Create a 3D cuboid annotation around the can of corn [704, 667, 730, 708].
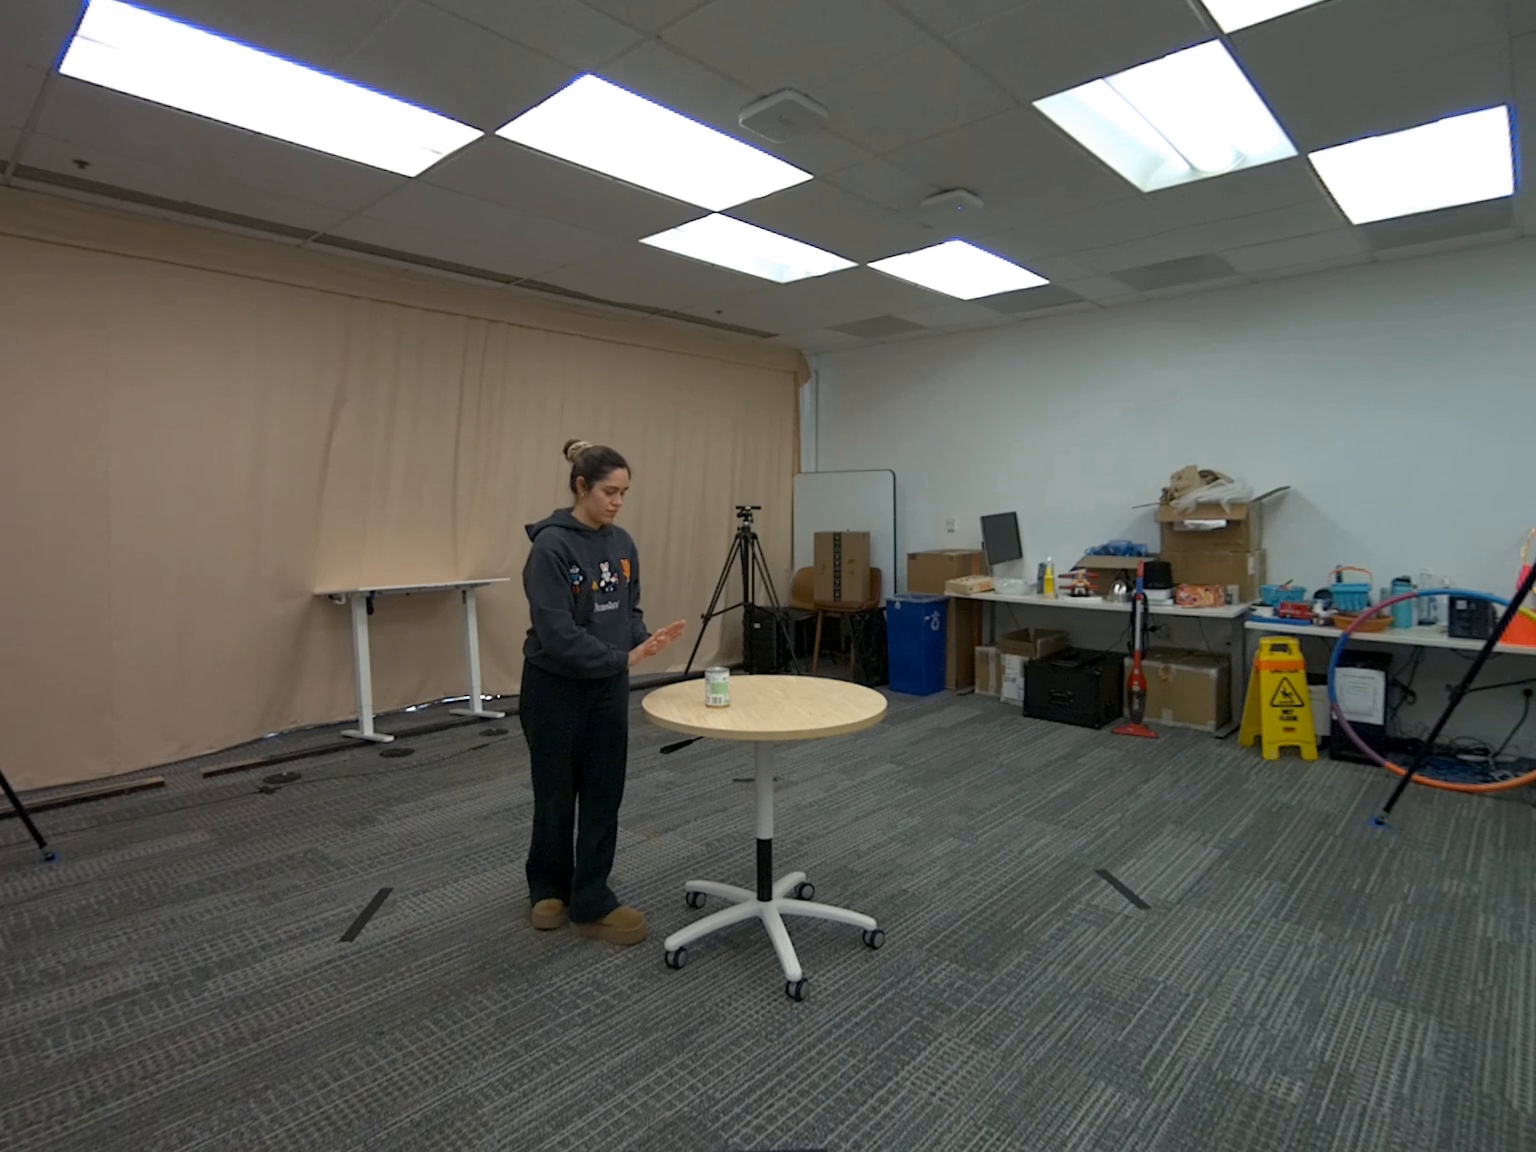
[{"bbox_3d":[-0.140,0.339,2.566,0.074,0.111,0.074,0,5,-2],"label":"can of corn"}]
